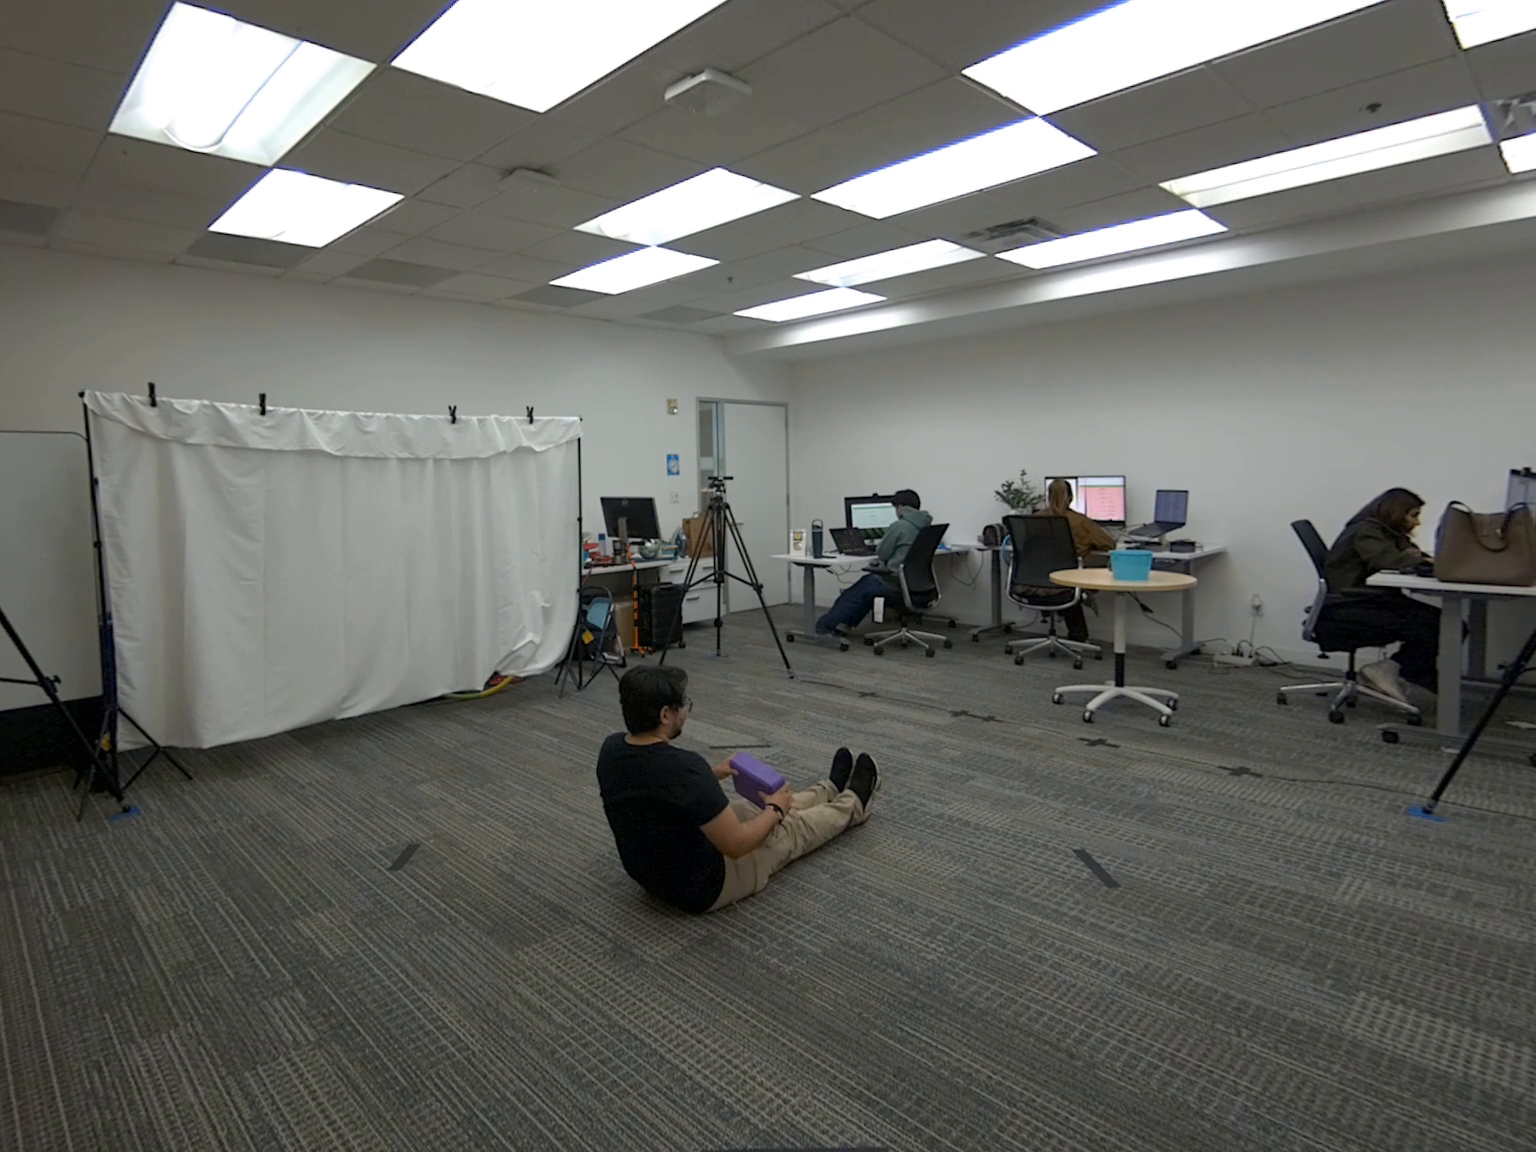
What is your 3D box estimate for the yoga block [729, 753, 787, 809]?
[{"bbox_3d":[-0.026,0.735,3.007,0.075,0.146,0.237,-25,27,-32],"label":"yoga block"}]
